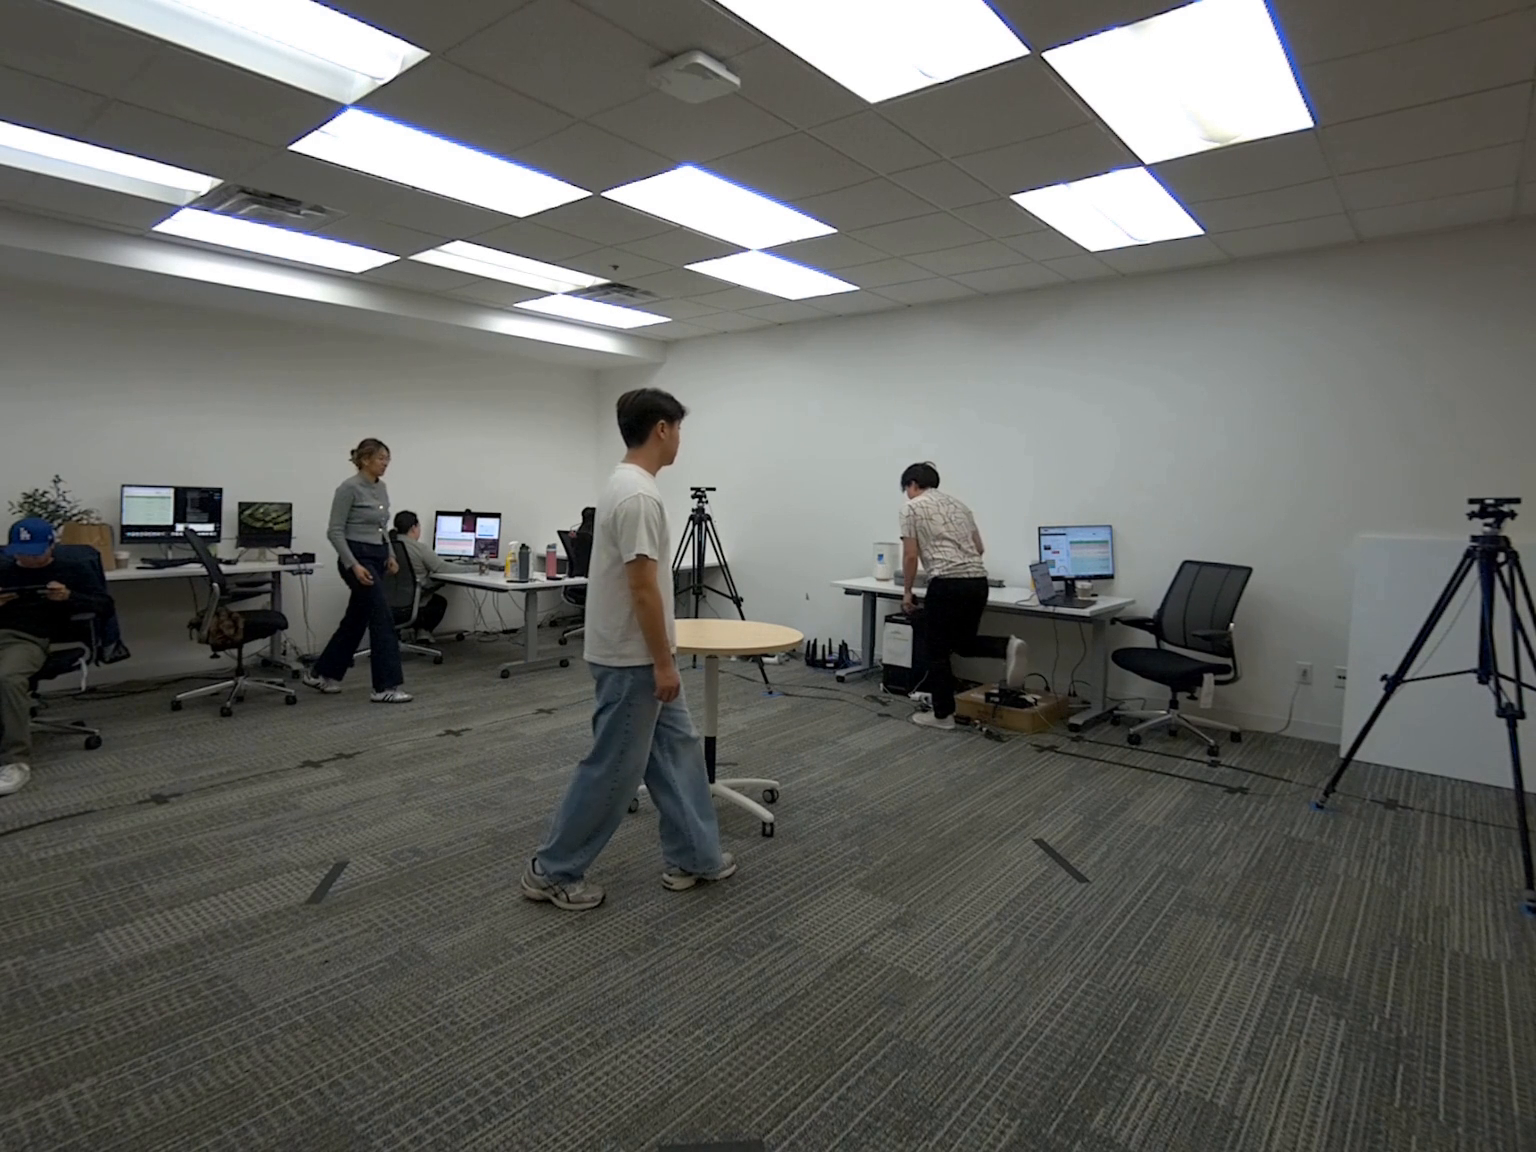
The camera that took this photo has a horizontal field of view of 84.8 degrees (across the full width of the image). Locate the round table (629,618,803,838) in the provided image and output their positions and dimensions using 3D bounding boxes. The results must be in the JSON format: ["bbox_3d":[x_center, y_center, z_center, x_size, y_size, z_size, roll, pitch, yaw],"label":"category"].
[{"bbox_3d":[-0.239,0.623,3.613,0.784,0.784,0.789,1,4,-2],"label":"round table"}]
